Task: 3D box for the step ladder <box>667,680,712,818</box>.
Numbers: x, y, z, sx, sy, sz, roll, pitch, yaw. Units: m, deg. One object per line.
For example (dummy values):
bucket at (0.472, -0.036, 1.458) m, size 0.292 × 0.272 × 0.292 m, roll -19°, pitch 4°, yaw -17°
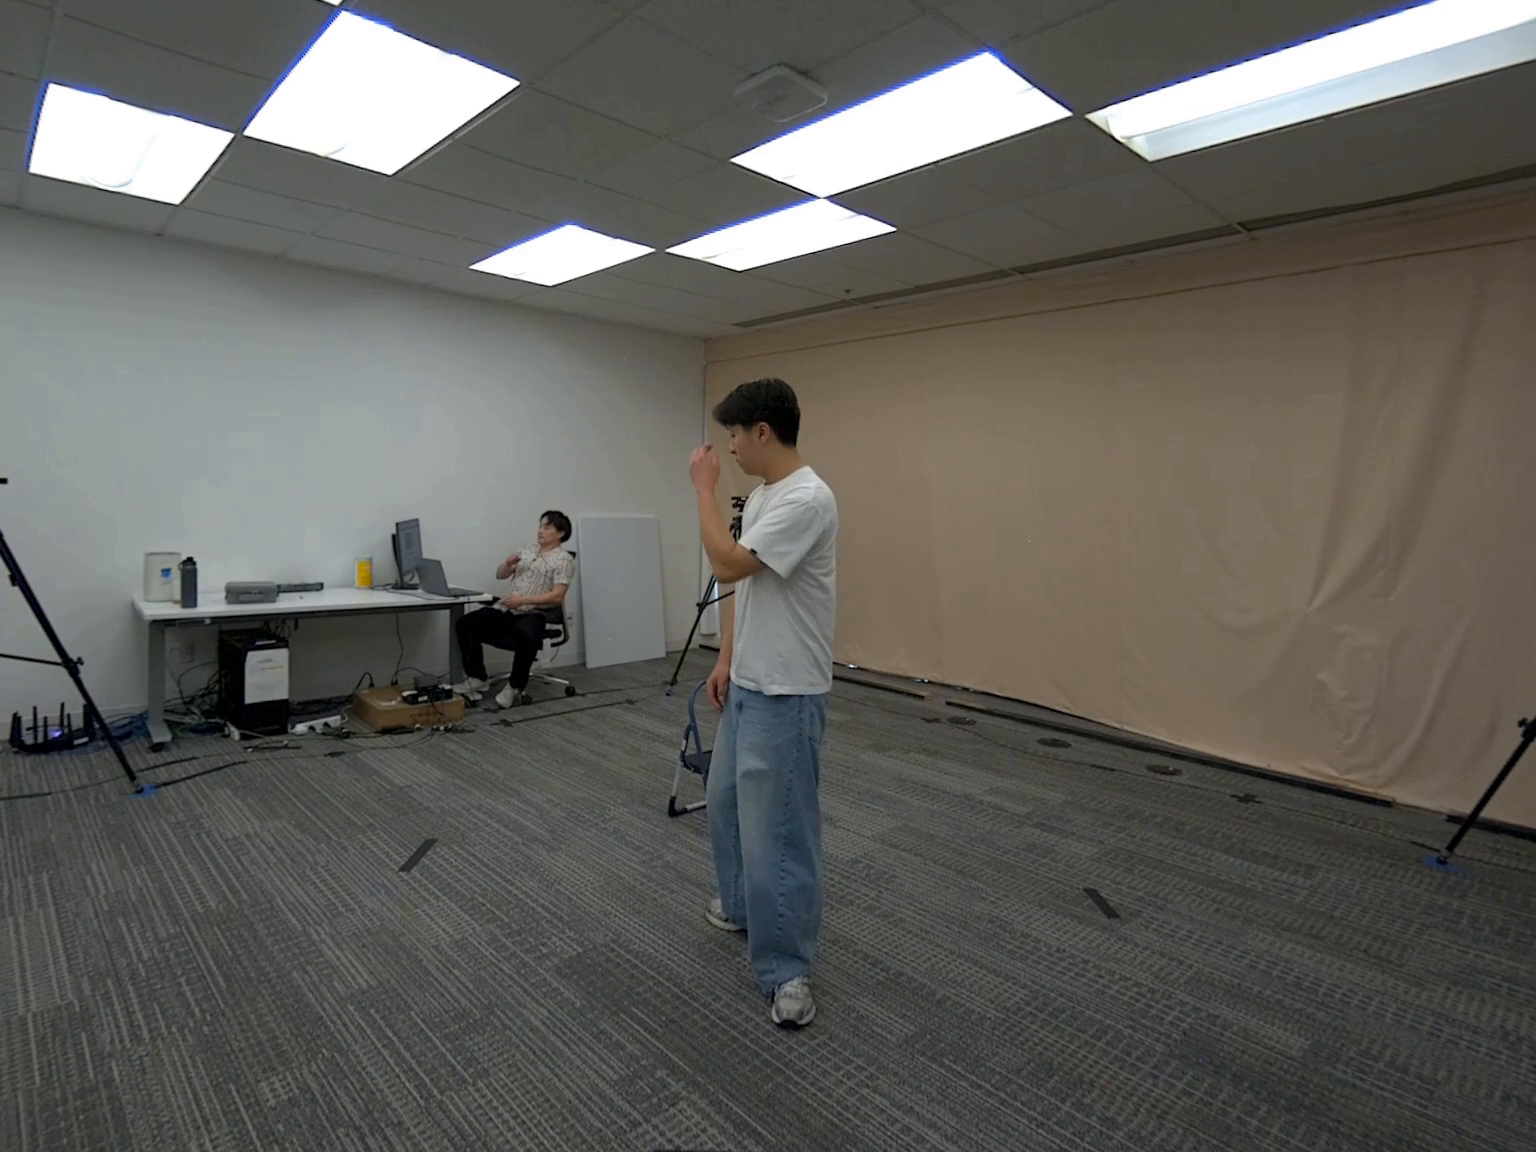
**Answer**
step ladder at (-0.171, 0.753, 3.673) m, size 0.420 × 0.605 × 0.358 m, roll -1°, pitch 4°, yaw -44°
